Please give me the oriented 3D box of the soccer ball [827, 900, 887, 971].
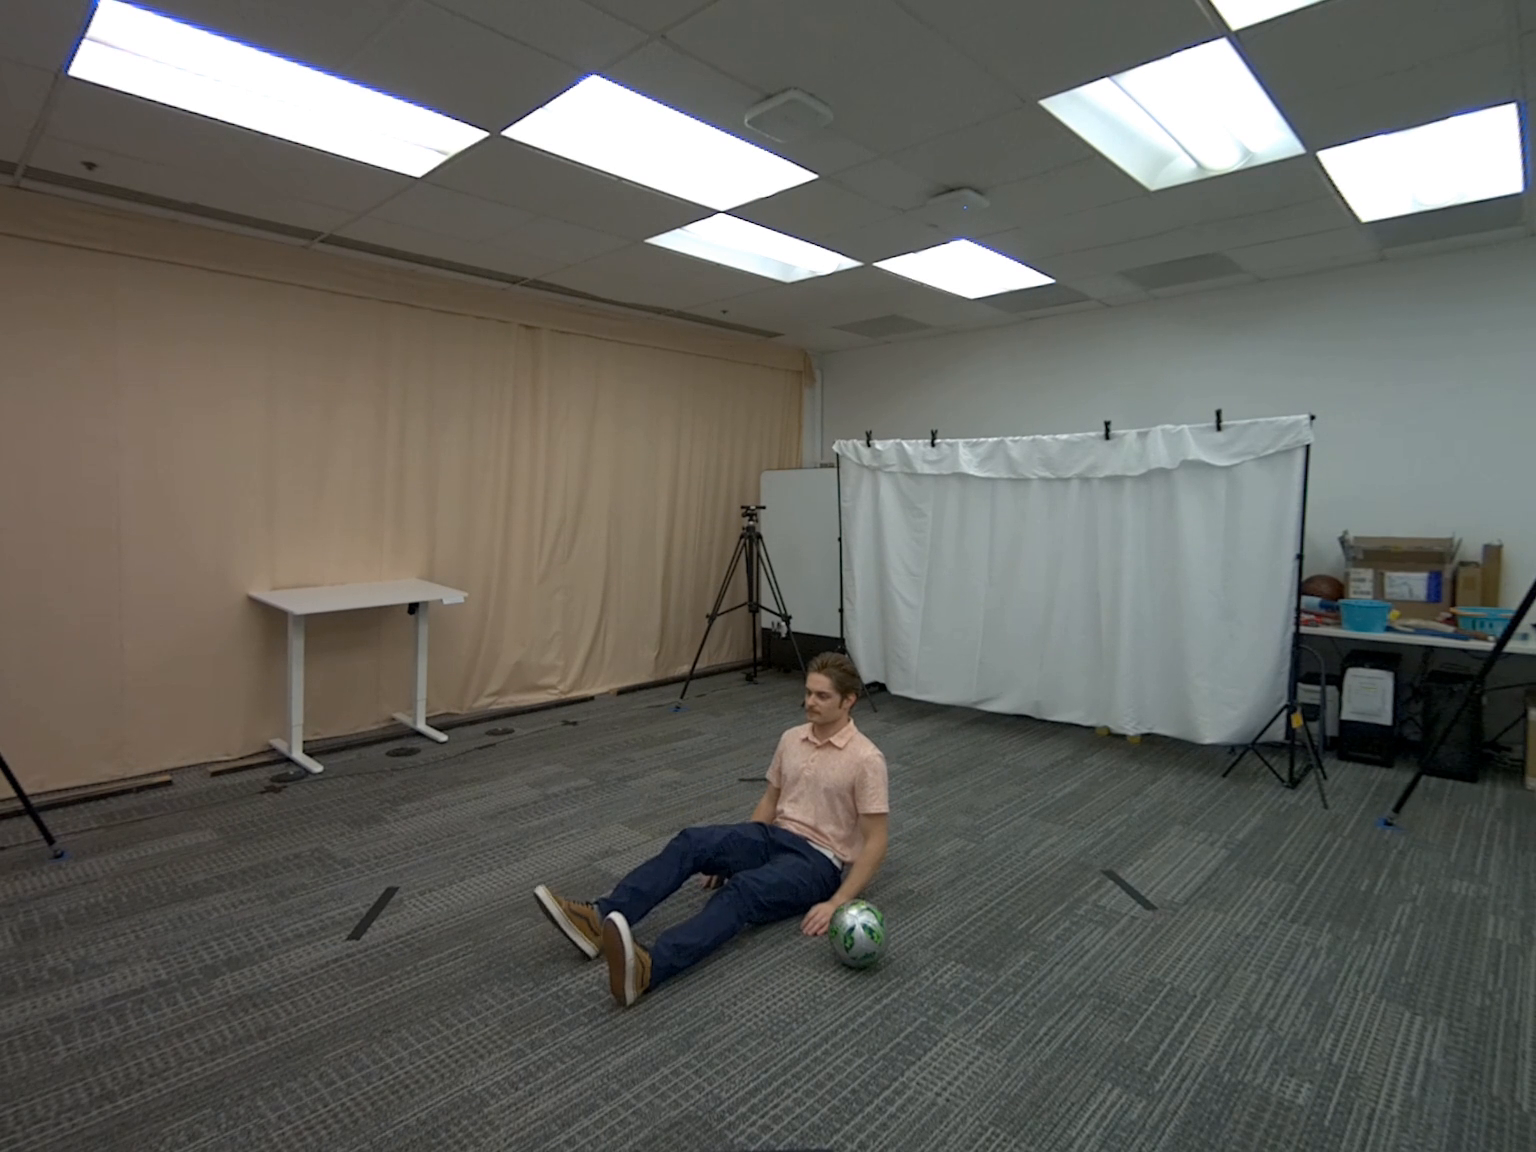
[{"bbox_3d":[0.274,1.076,2.564,0.187,0.187,0.188,0,4,-2],"label":"soccer ball"}]
